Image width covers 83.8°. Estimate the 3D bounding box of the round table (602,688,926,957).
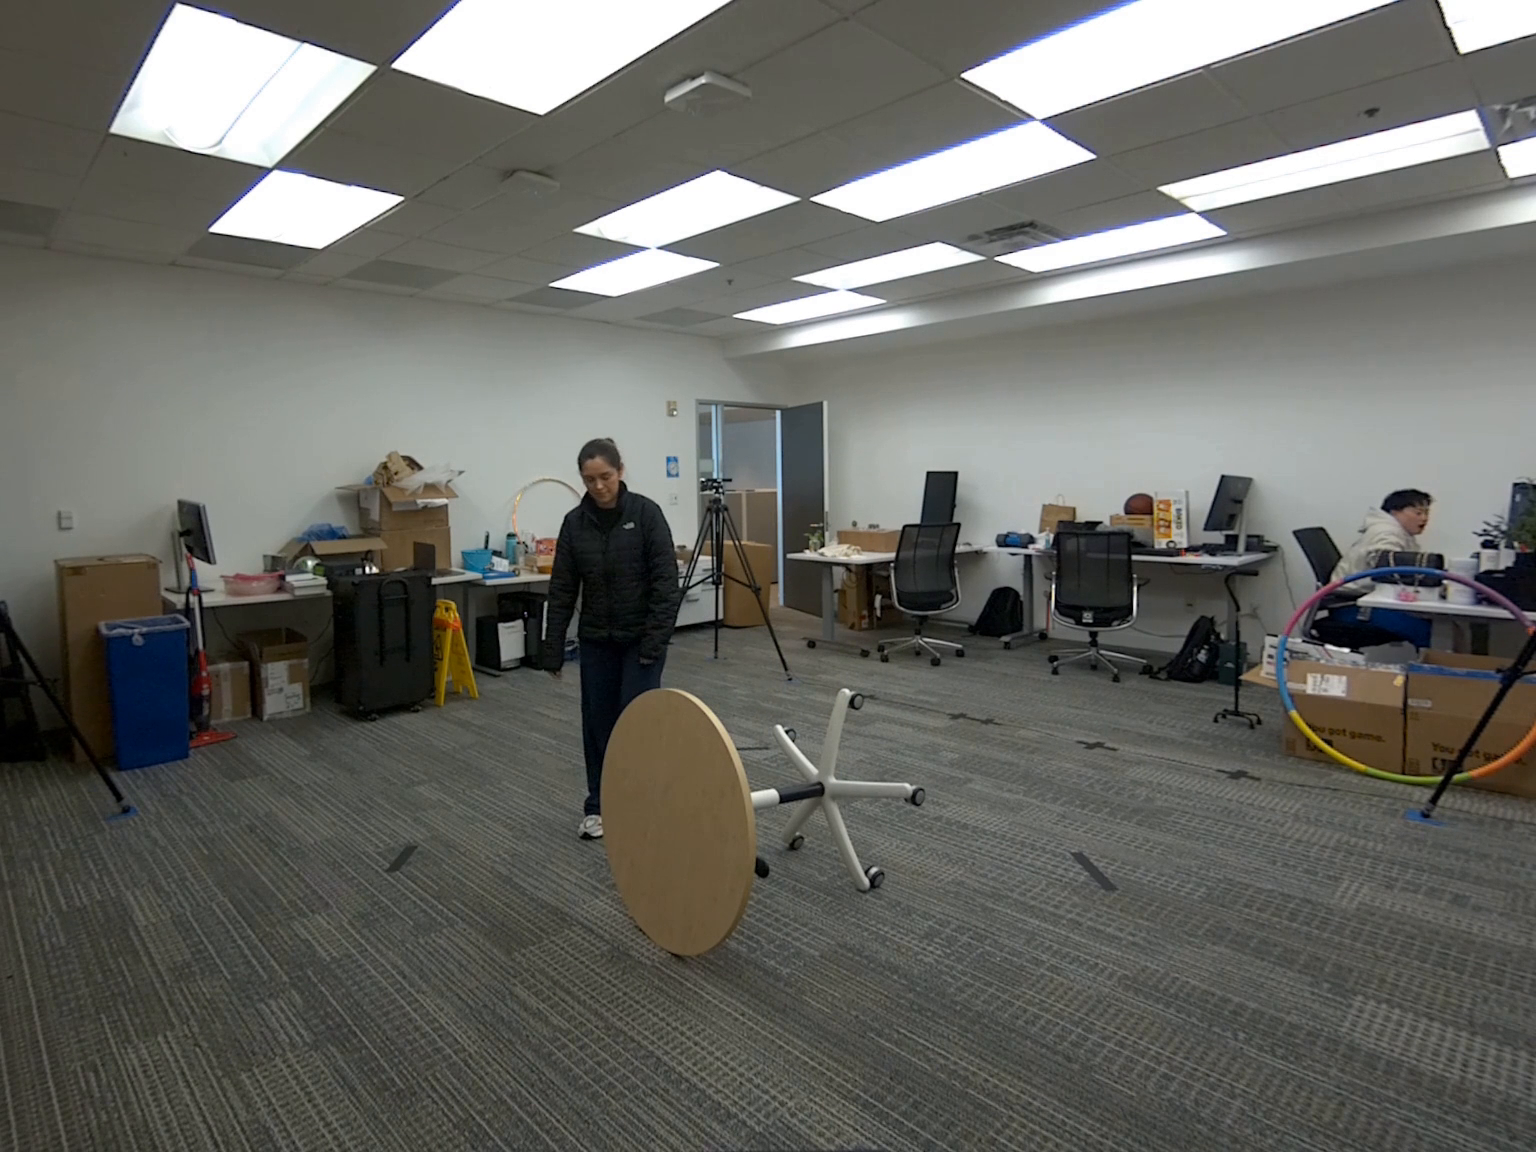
[{"bbox_3d":[-0.004,0.737,2.830,0.763,0.785,0.809,2,2,-40],"label":"round table"}]
